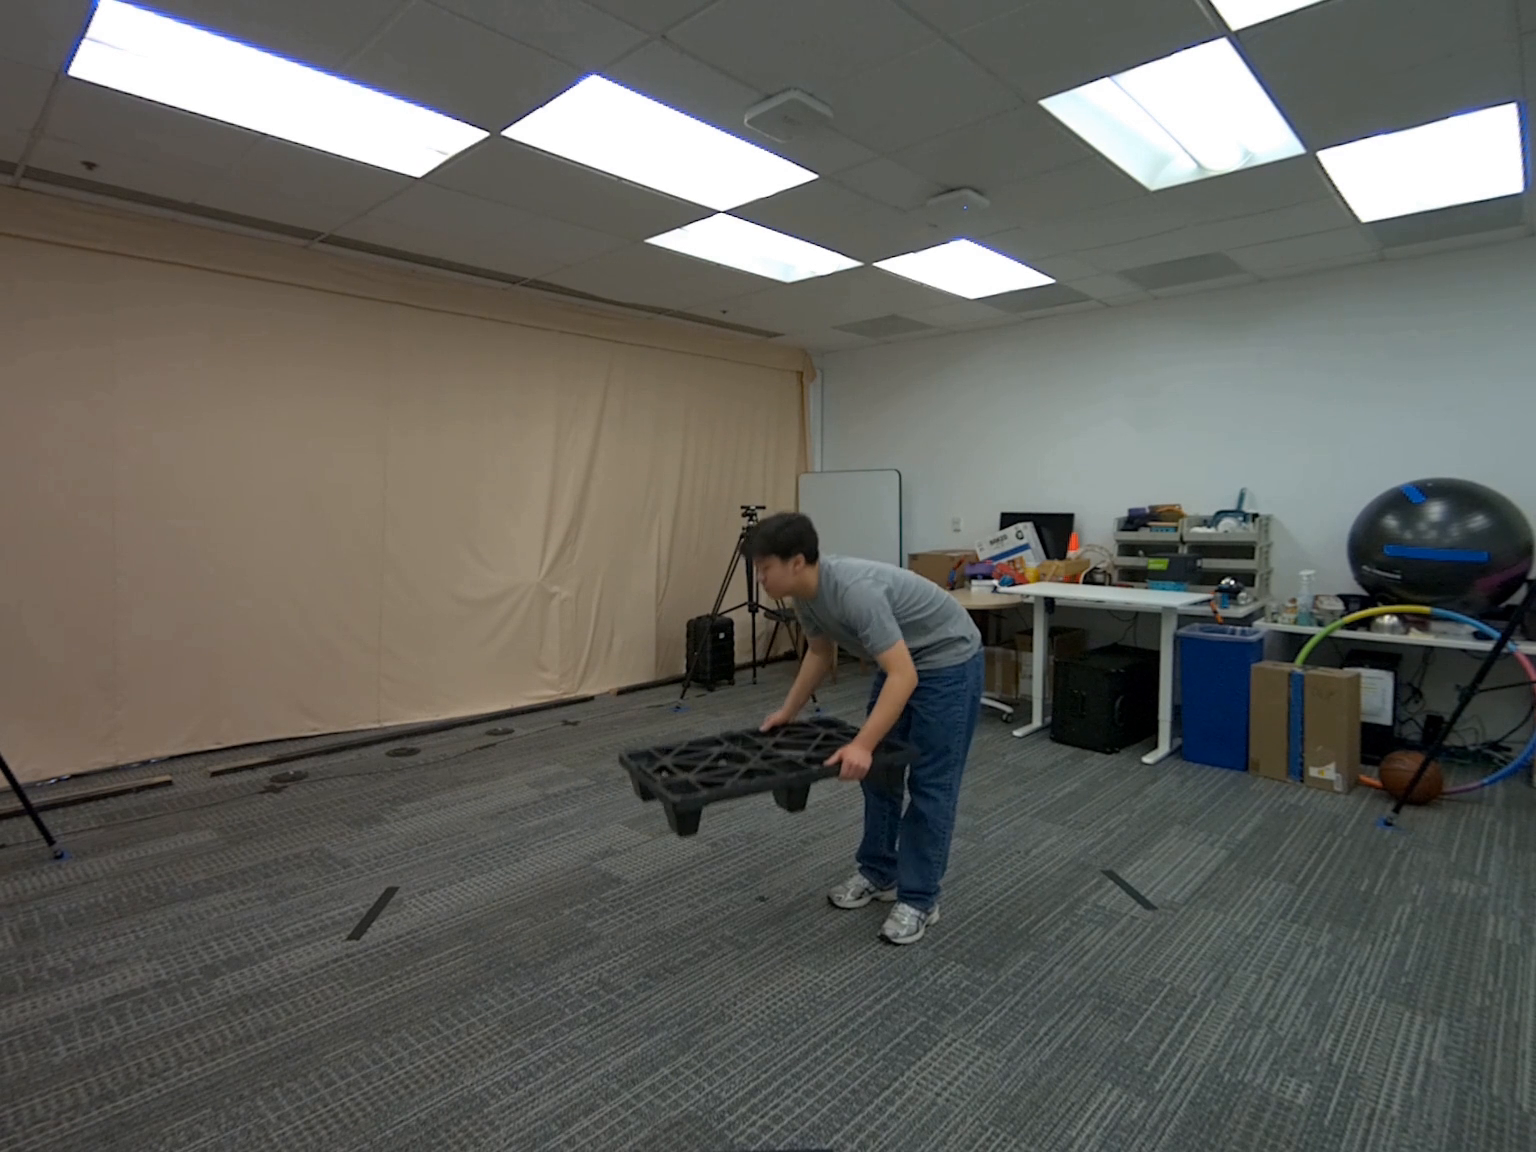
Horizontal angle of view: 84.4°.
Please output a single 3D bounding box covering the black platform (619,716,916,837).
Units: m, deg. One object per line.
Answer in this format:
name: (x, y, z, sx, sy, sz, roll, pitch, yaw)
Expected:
black platform: (-0.017, 0.628, 2.693, 0.789, 0.143, 0.618, -6, 3, -22)
